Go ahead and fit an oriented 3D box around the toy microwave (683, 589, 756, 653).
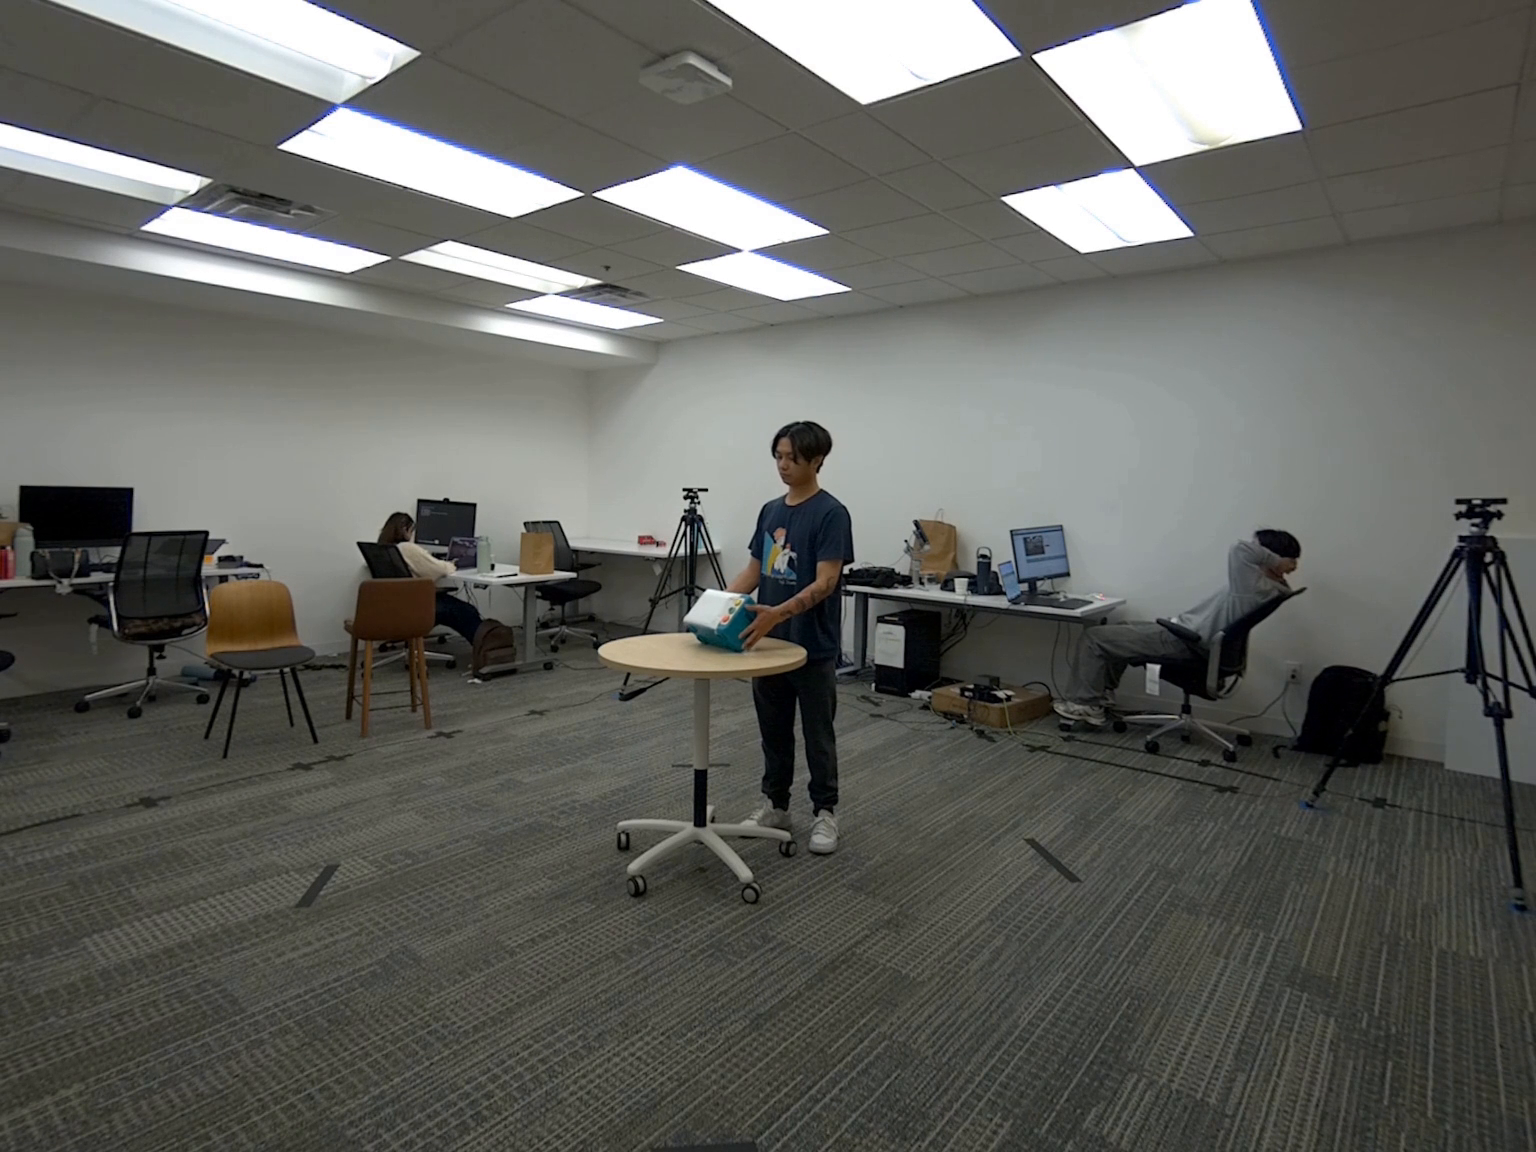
[{"bbox_3d":[-0.178,0.157,3.185,0.295,0.184,0.147,7,-37,53],"label":"toy microwave"}]
